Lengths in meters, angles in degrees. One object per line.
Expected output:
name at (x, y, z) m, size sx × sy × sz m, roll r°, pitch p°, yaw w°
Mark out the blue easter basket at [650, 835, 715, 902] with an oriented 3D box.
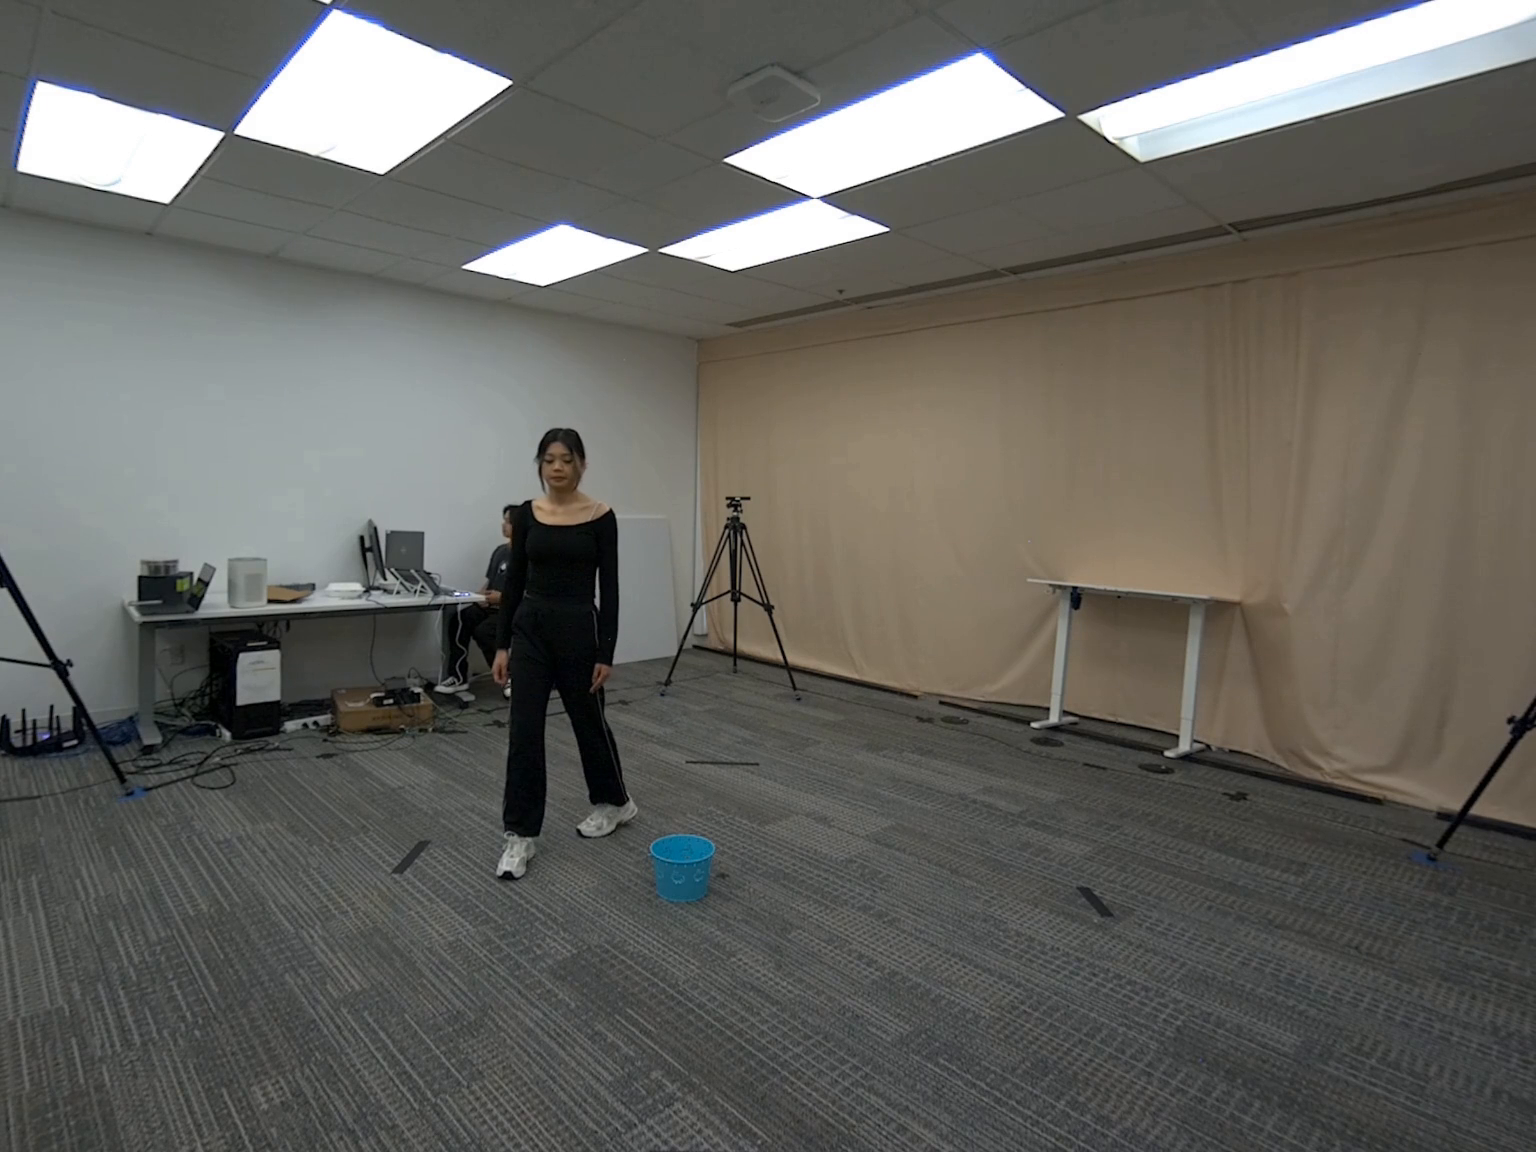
blue easter basket at (-0.309, 1.033, 2.986) m, size 0.243 × 0.155 × 0.244 m, roll 1°, pitch 5°, yaw -1°
